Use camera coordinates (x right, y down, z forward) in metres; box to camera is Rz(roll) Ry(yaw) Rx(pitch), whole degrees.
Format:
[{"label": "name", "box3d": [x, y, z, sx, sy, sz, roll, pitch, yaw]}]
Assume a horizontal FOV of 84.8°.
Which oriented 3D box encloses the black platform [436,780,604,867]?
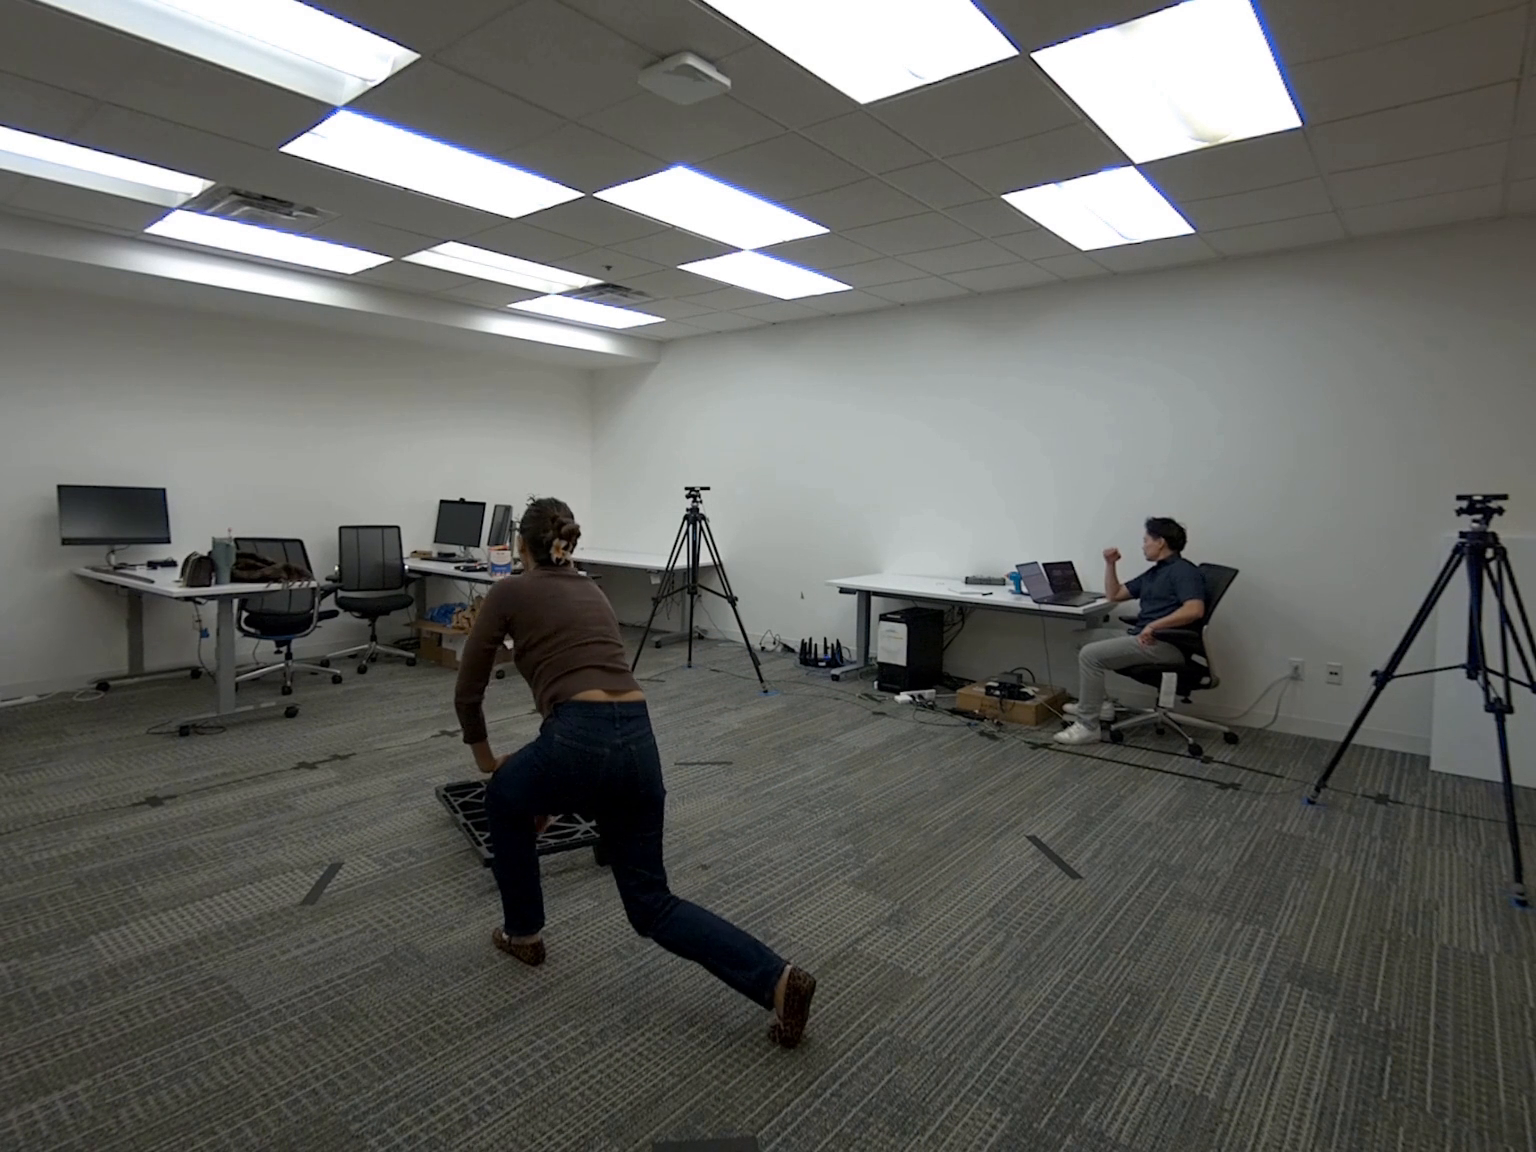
[{"label": "black platform", "box3d": [-0.934, 0.963, 3.341, 0.589, 0.143, 0.831, -3, 7, -32]}]
